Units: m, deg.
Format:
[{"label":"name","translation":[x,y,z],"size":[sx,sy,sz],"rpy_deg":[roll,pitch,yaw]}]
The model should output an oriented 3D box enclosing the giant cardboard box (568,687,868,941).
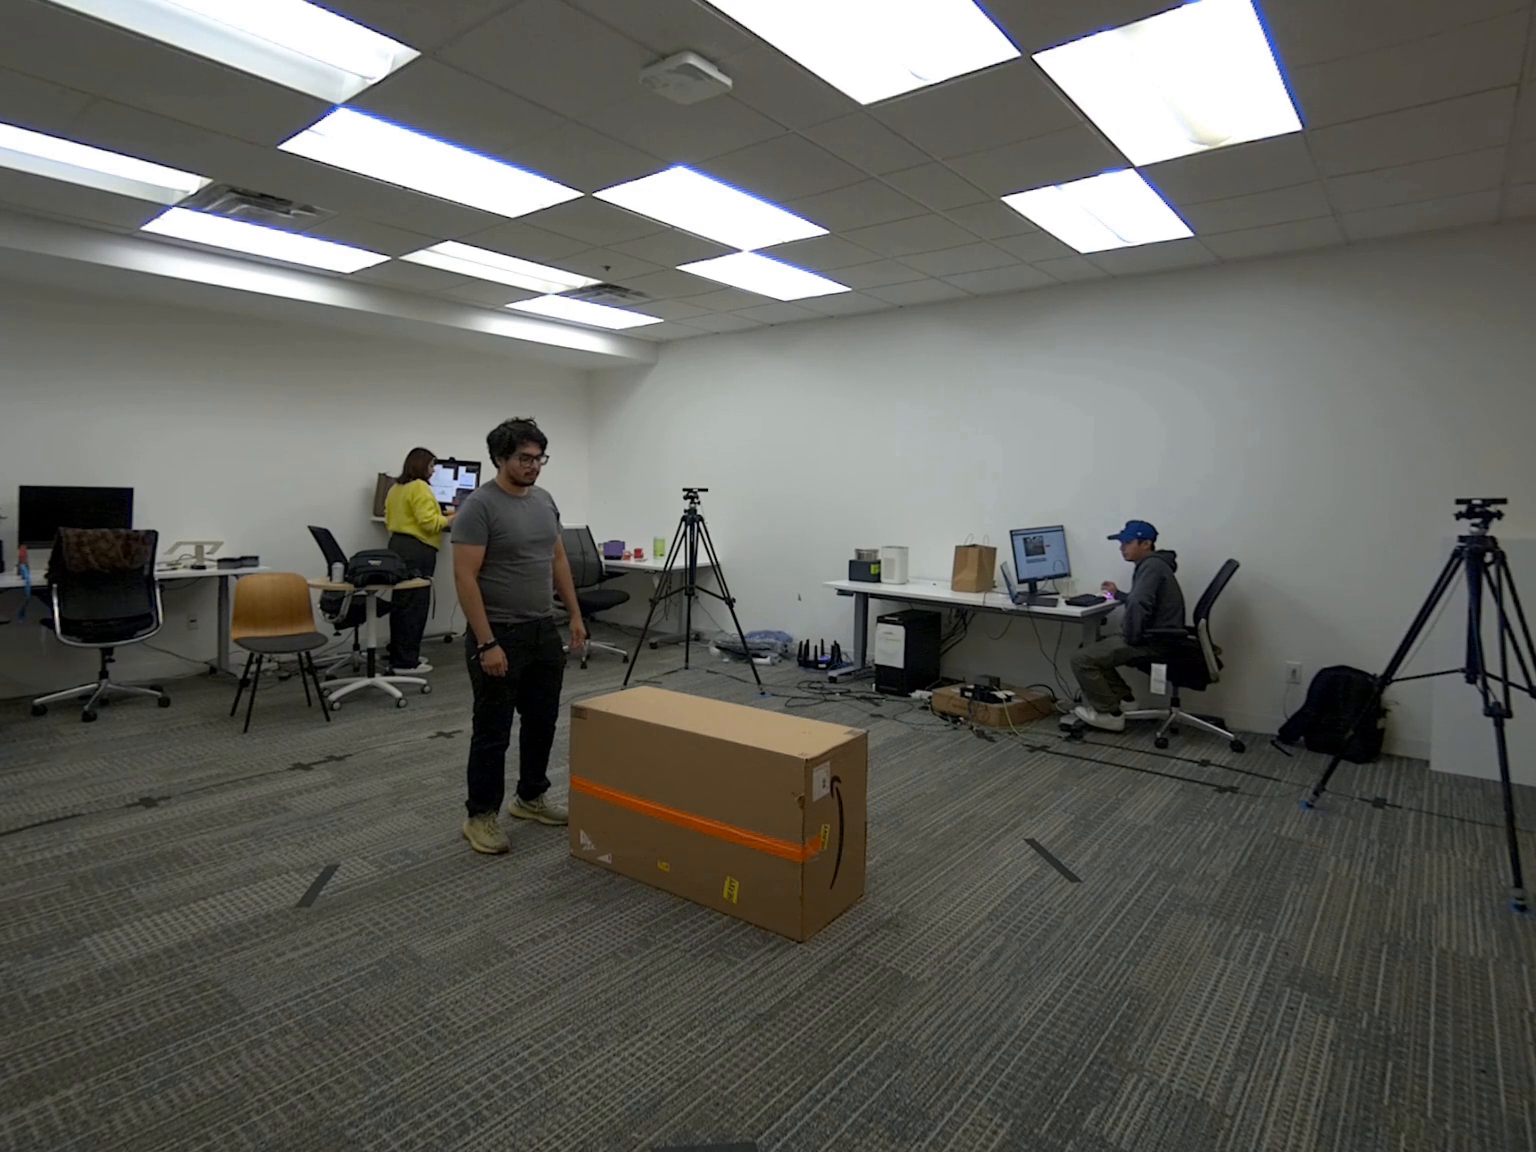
[{"label":"giant cardboard box","translation":[-0.212,0.783,3.051],"size":[1.059,0.575,0.414],"rpy_deg":[5,5,35]}]
